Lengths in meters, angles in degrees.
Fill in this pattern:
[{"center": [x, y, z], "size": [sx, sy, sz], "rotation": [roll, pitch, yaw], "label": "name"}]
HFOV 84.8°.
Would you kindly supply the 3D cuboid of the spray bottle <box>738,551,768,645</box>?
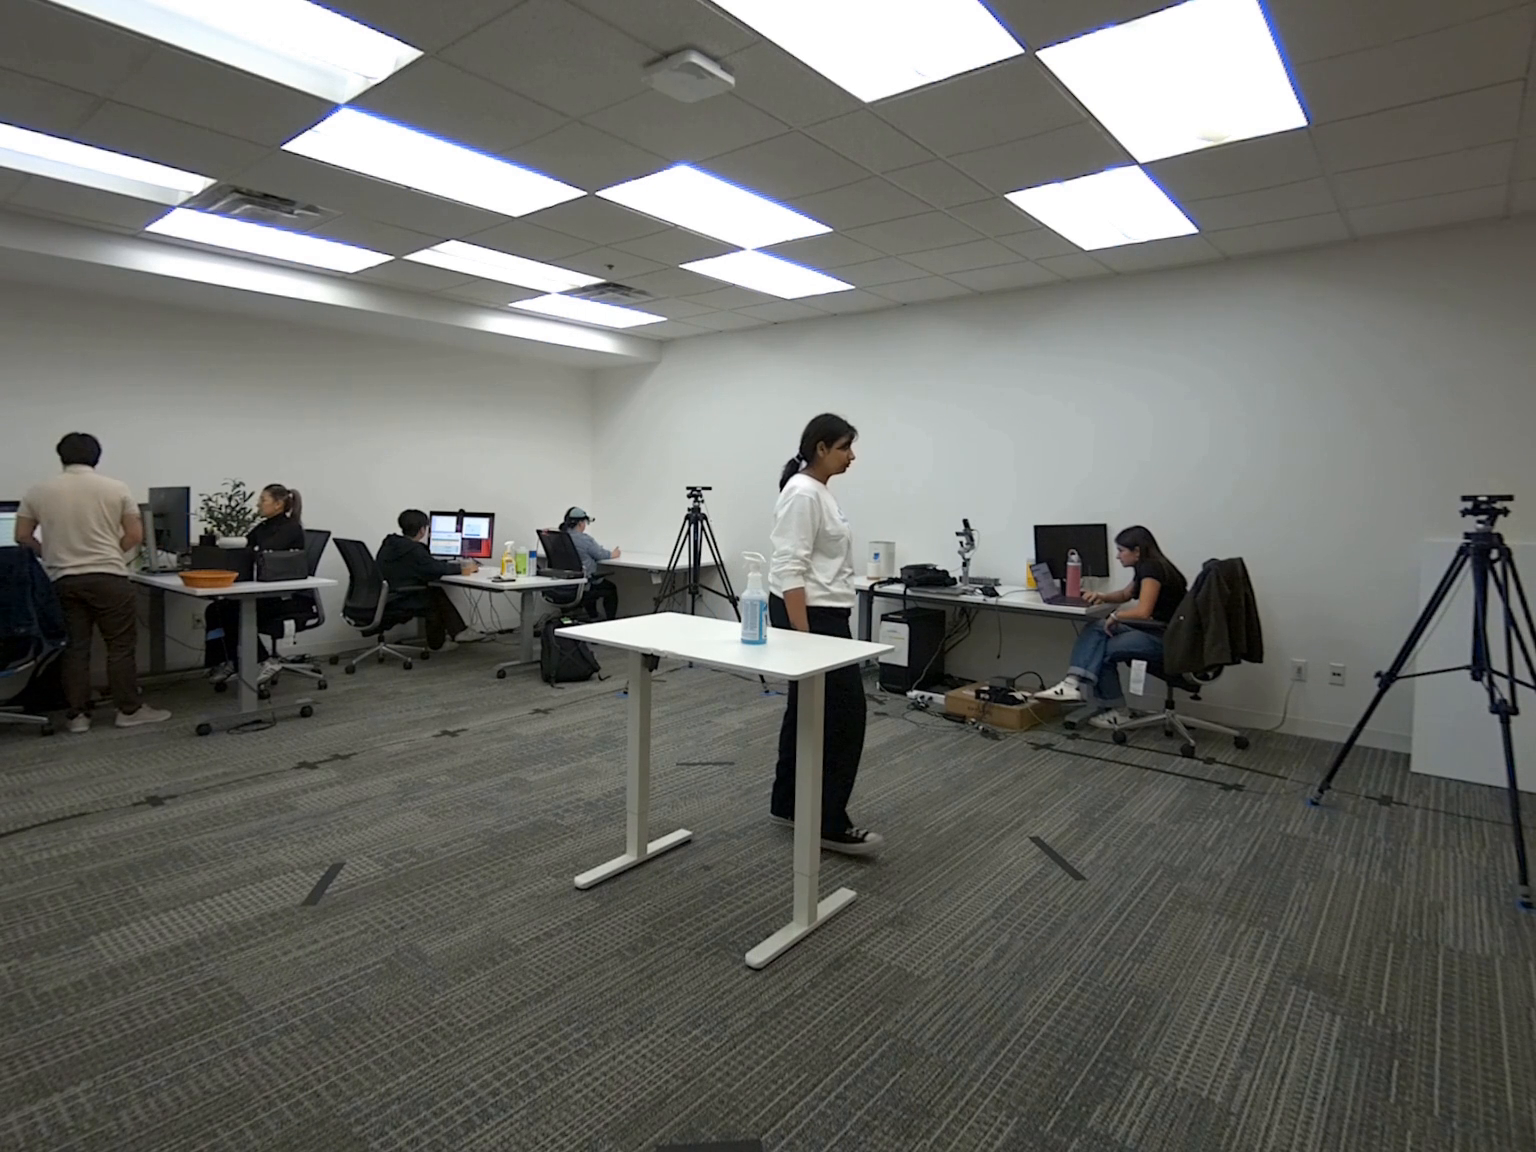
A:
[{"center": [-0.043, 0.073, 2.794], "size": [0.085, 0.297, 0.092], "rotation": [0, 1, -30], "label": "spray bottle"}]
